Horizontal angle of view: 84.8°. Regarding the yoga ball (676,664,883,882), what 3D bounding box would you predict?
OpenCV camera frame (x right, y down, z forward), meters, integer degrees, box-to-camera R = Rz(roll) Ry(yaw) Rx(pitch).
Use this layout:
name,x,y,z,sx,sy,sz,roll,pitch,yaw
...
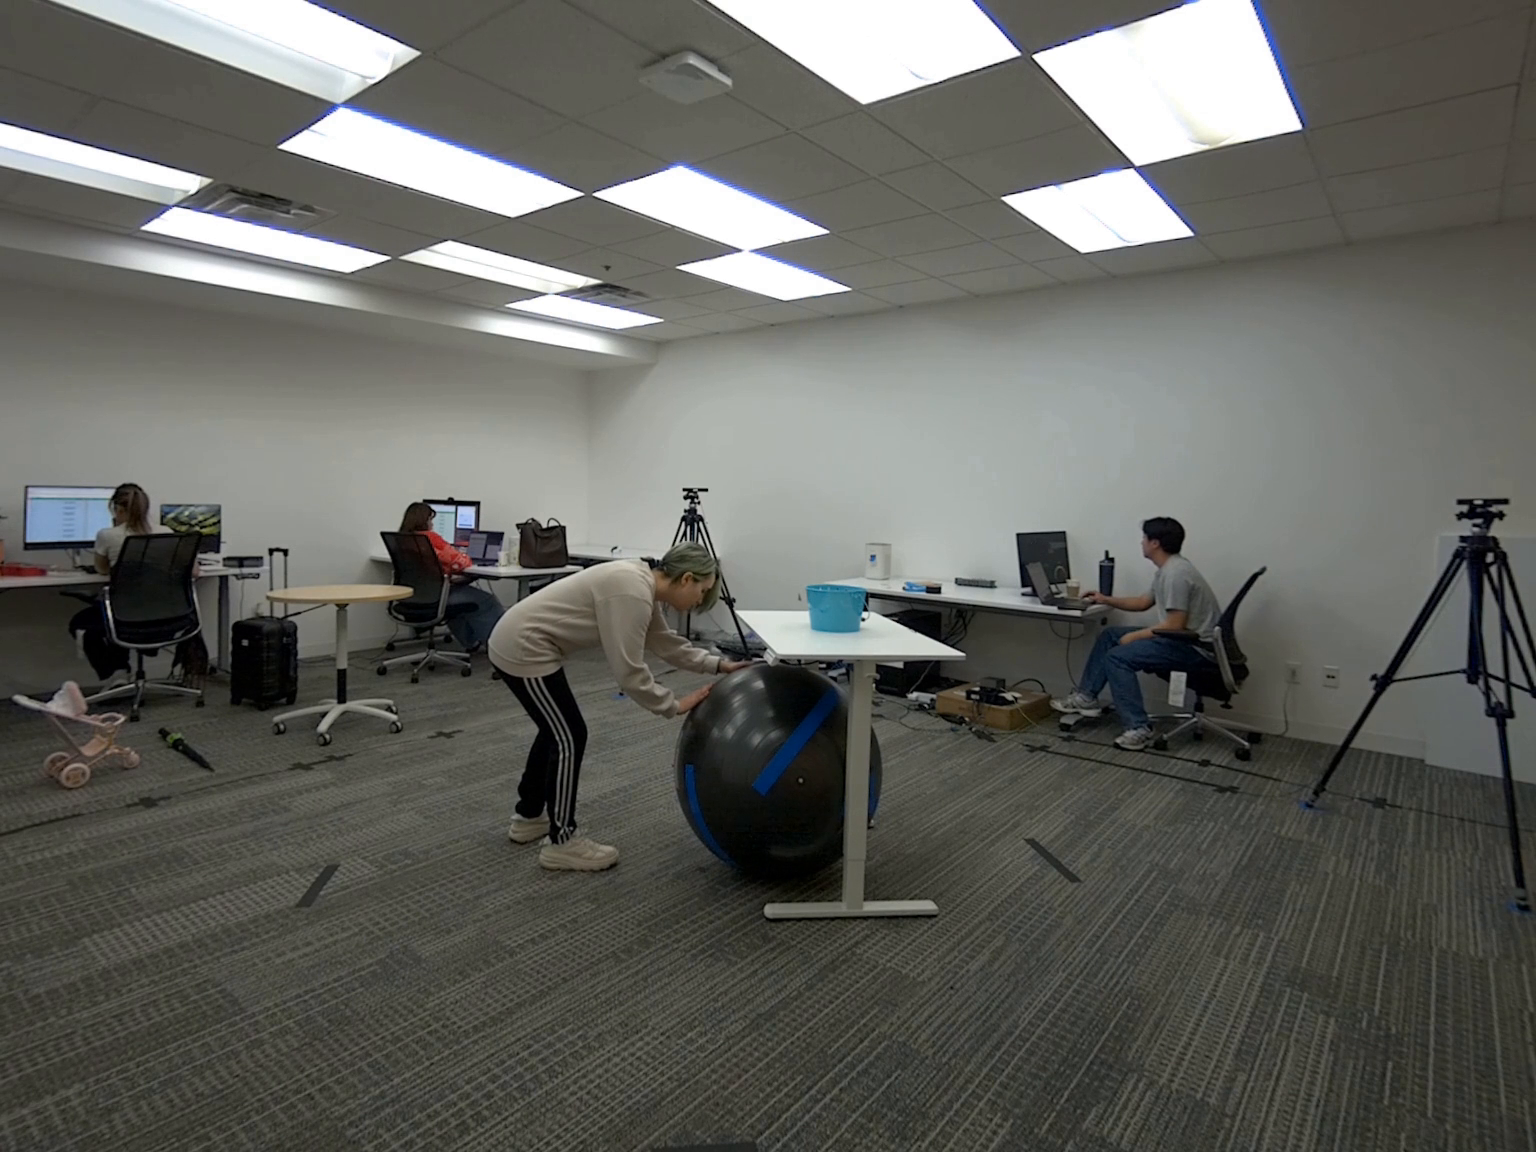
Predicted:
name,x,y,z,sx,sy,sz,roll,pitch,yaw
yoga ball,0.029,0.702,3.119,0.757,0.755,0.762,1,4,-2
